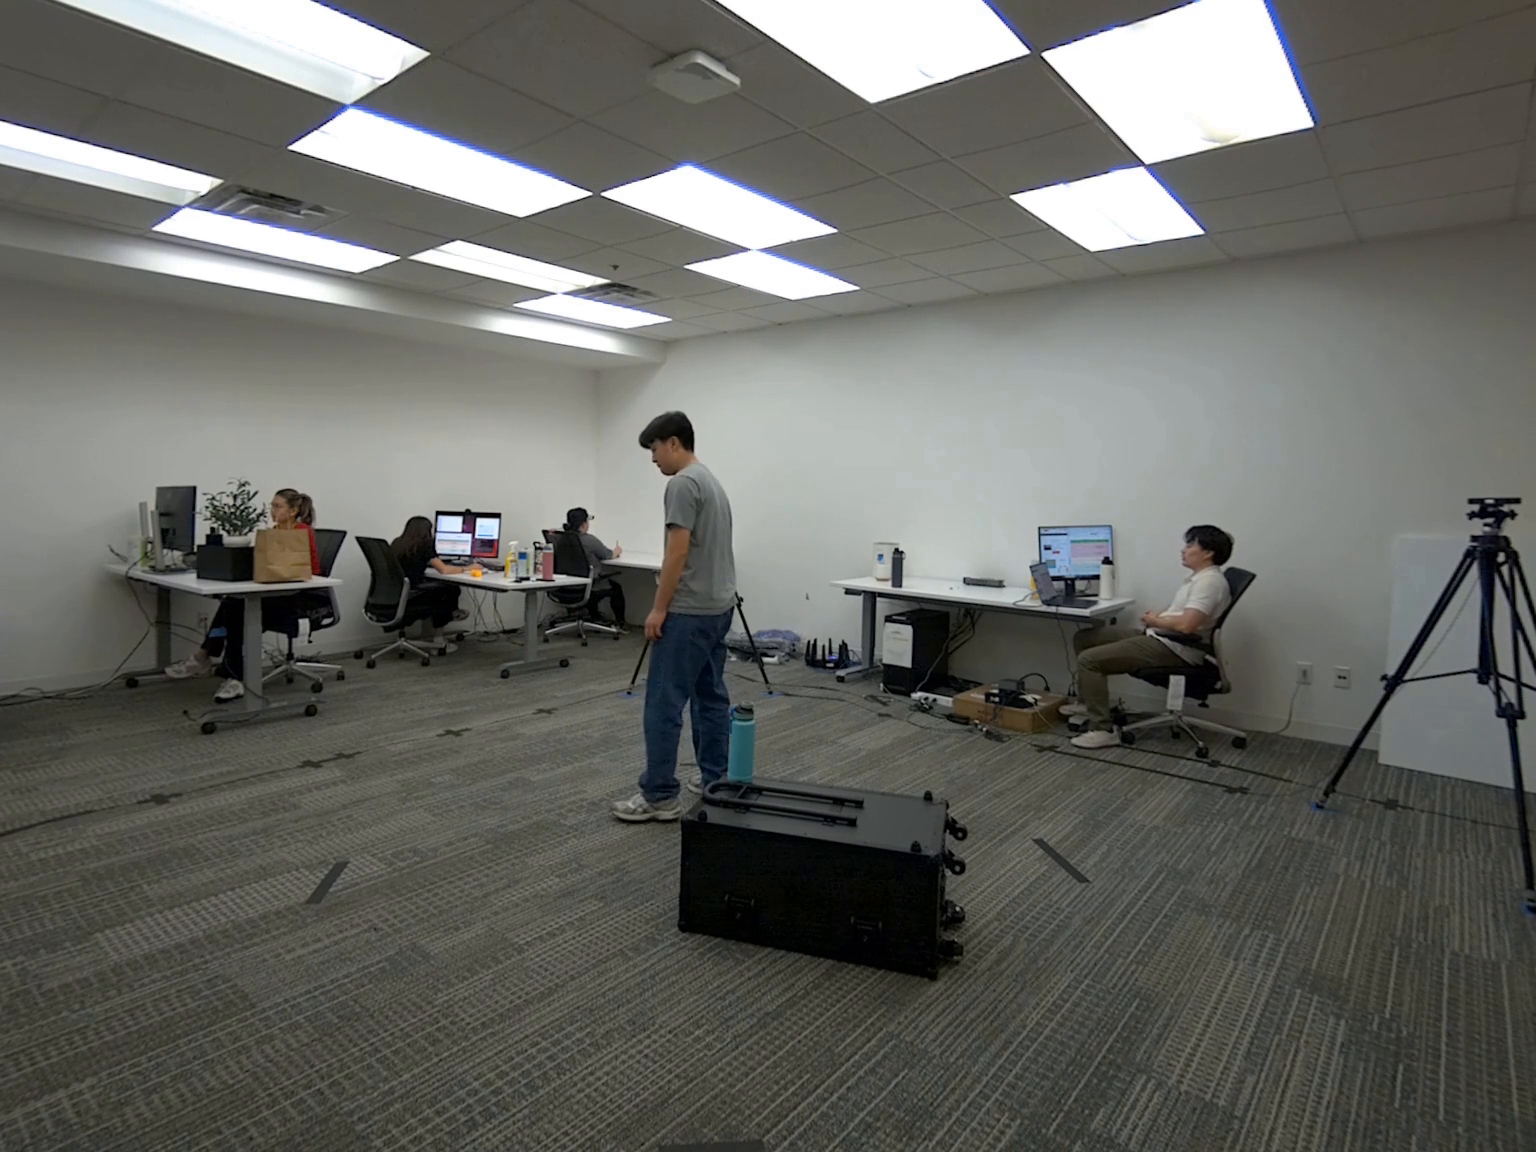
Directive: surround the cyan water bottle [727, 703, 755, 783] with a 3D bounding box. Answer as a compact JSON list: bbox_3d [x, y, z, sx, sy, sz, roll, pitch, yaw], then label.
[{"bbox_3d":[-0.101,0.580,2.983,0.092,0.282,0.093,1,3,-2],"label":"cyan water bottle"}]
